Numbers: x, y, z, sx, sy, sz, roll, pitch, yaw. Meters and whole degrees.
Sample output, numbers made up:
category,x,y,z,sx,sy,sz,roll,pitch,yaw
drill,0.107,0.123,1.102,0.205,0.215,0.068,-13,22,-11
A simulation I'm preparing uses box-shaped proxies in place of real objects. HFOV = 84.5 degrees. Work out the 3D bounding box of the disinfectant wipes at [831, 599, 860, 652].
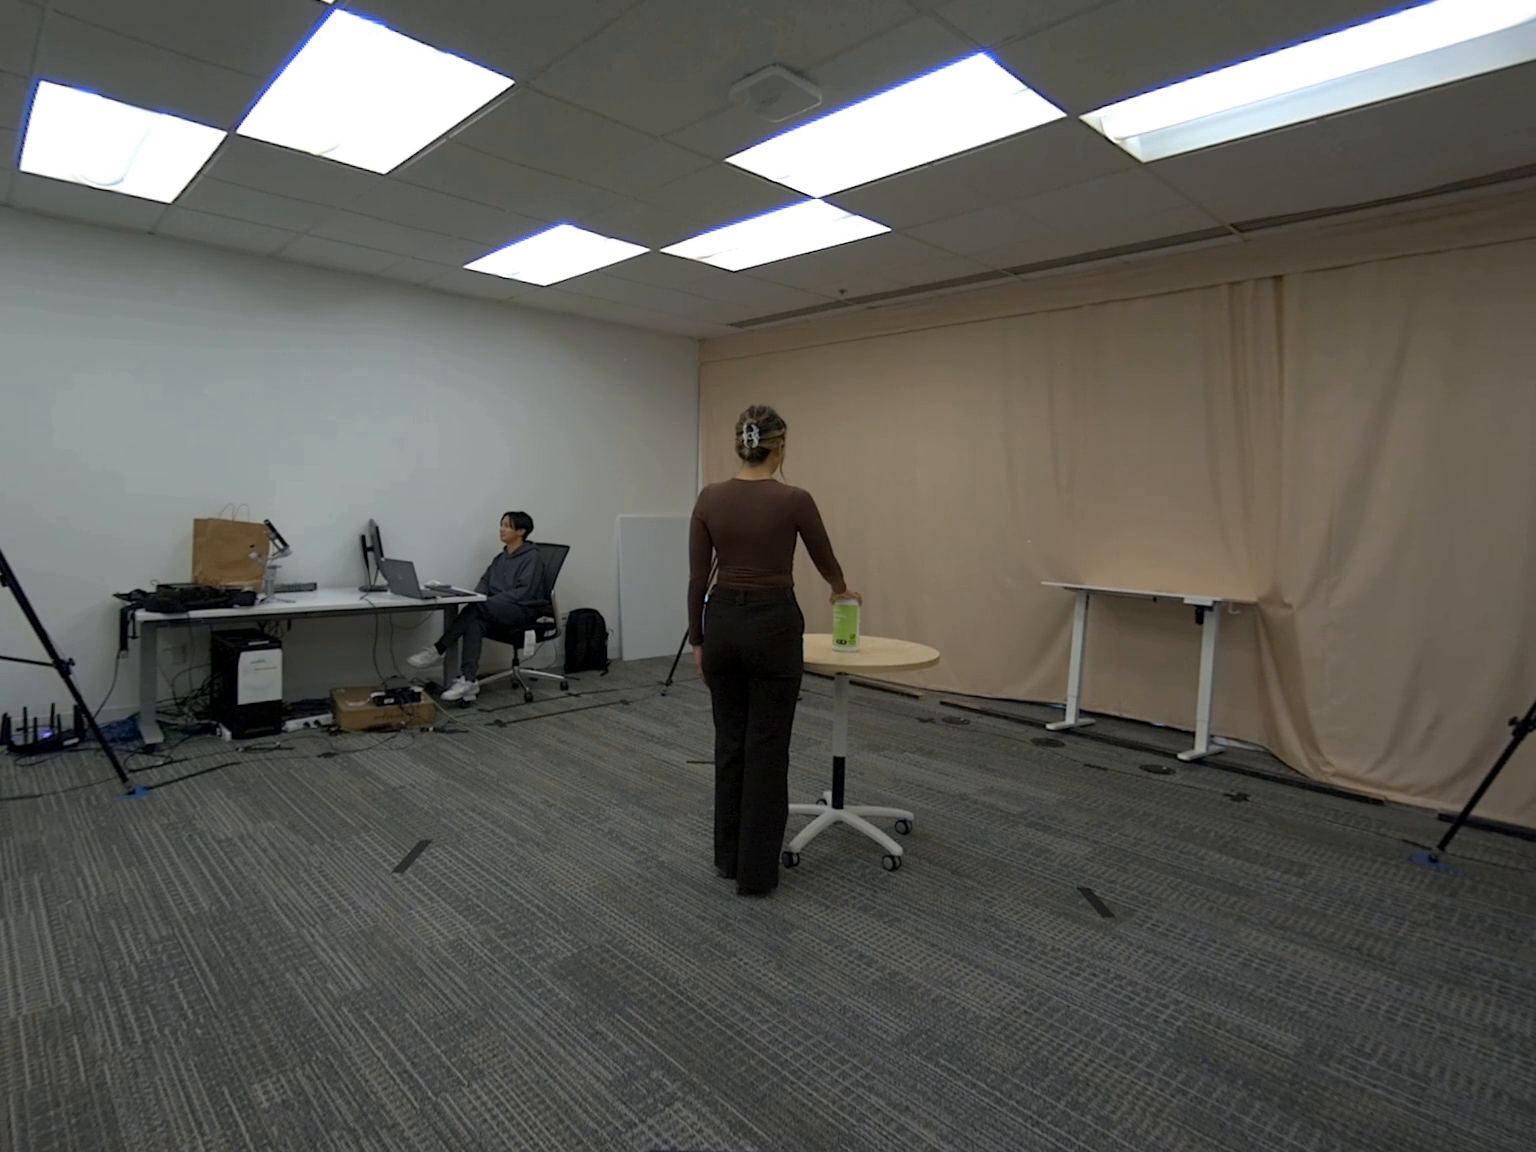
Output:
category,x,y,z,sx,sy,sz,roll,pitch,yaw
disinfectant wipes,0.309,0.189,3.367,0.118,0.216,0.118,0,6,-1
